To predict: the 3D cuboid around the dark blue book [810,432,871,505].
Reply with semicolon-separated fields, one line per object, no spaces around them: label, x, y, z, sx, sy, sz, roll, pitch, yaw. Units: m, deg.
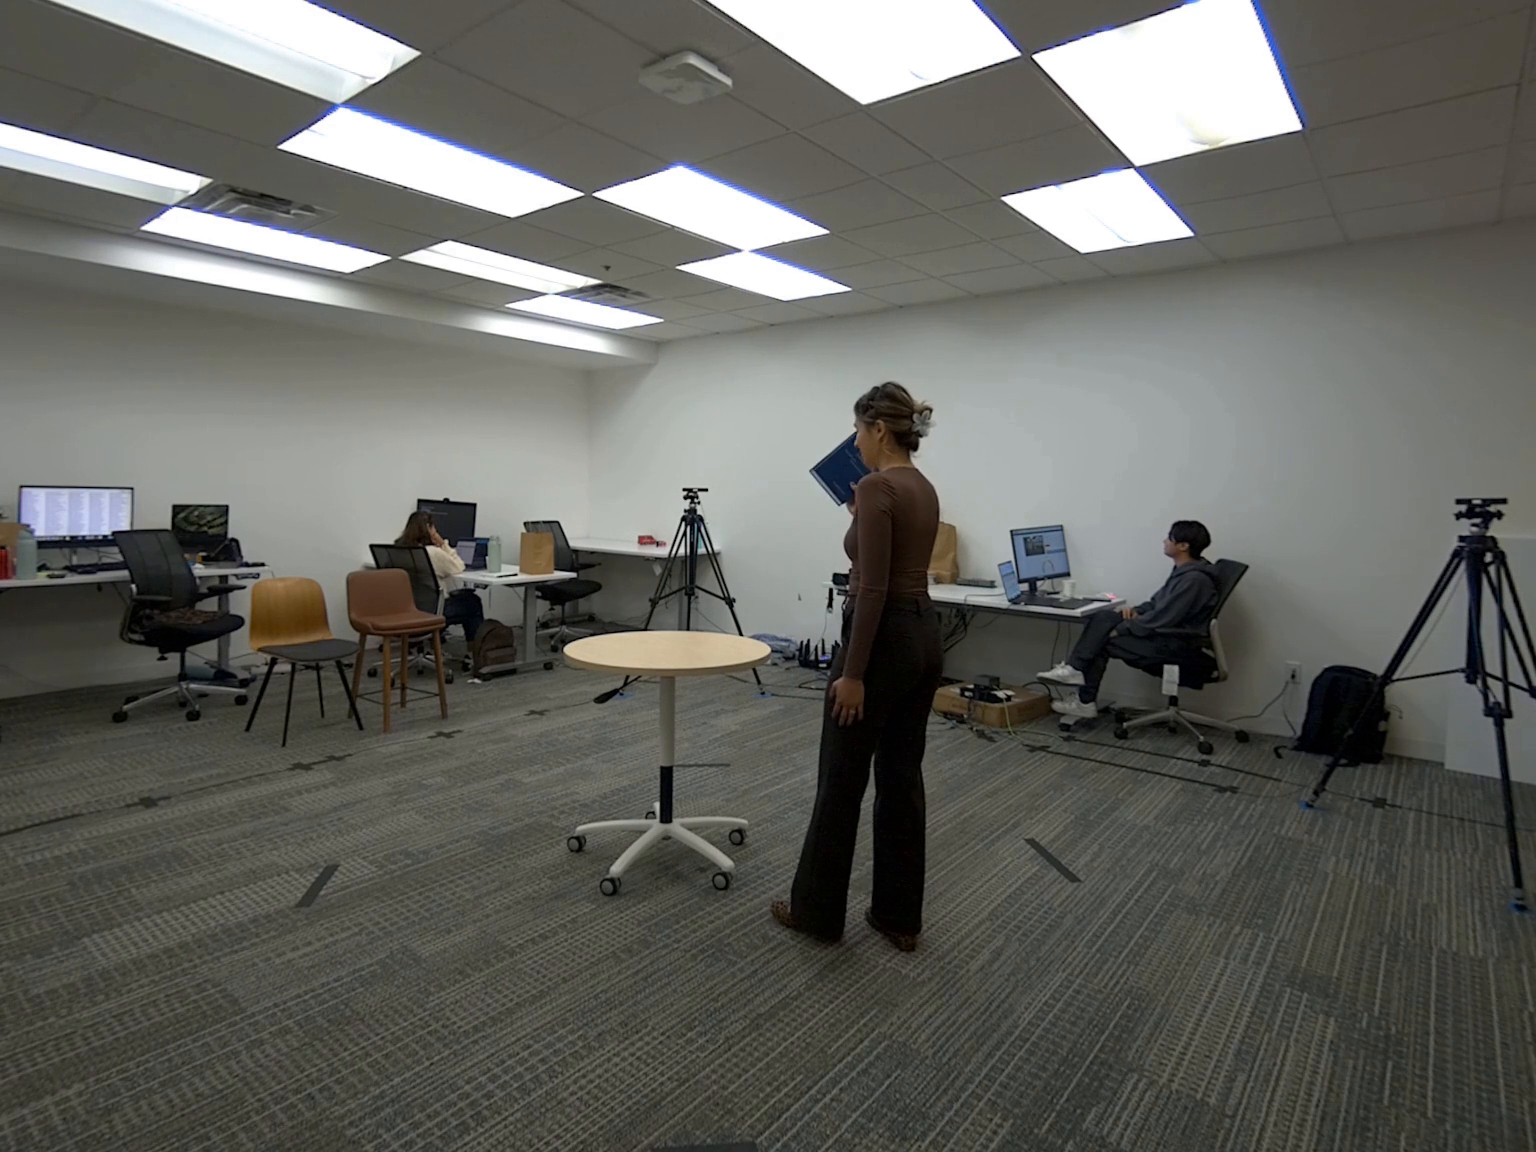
dark blue book;0.281;-0.382;2.927;0.244;0.163;0.045;-41;1;-11
